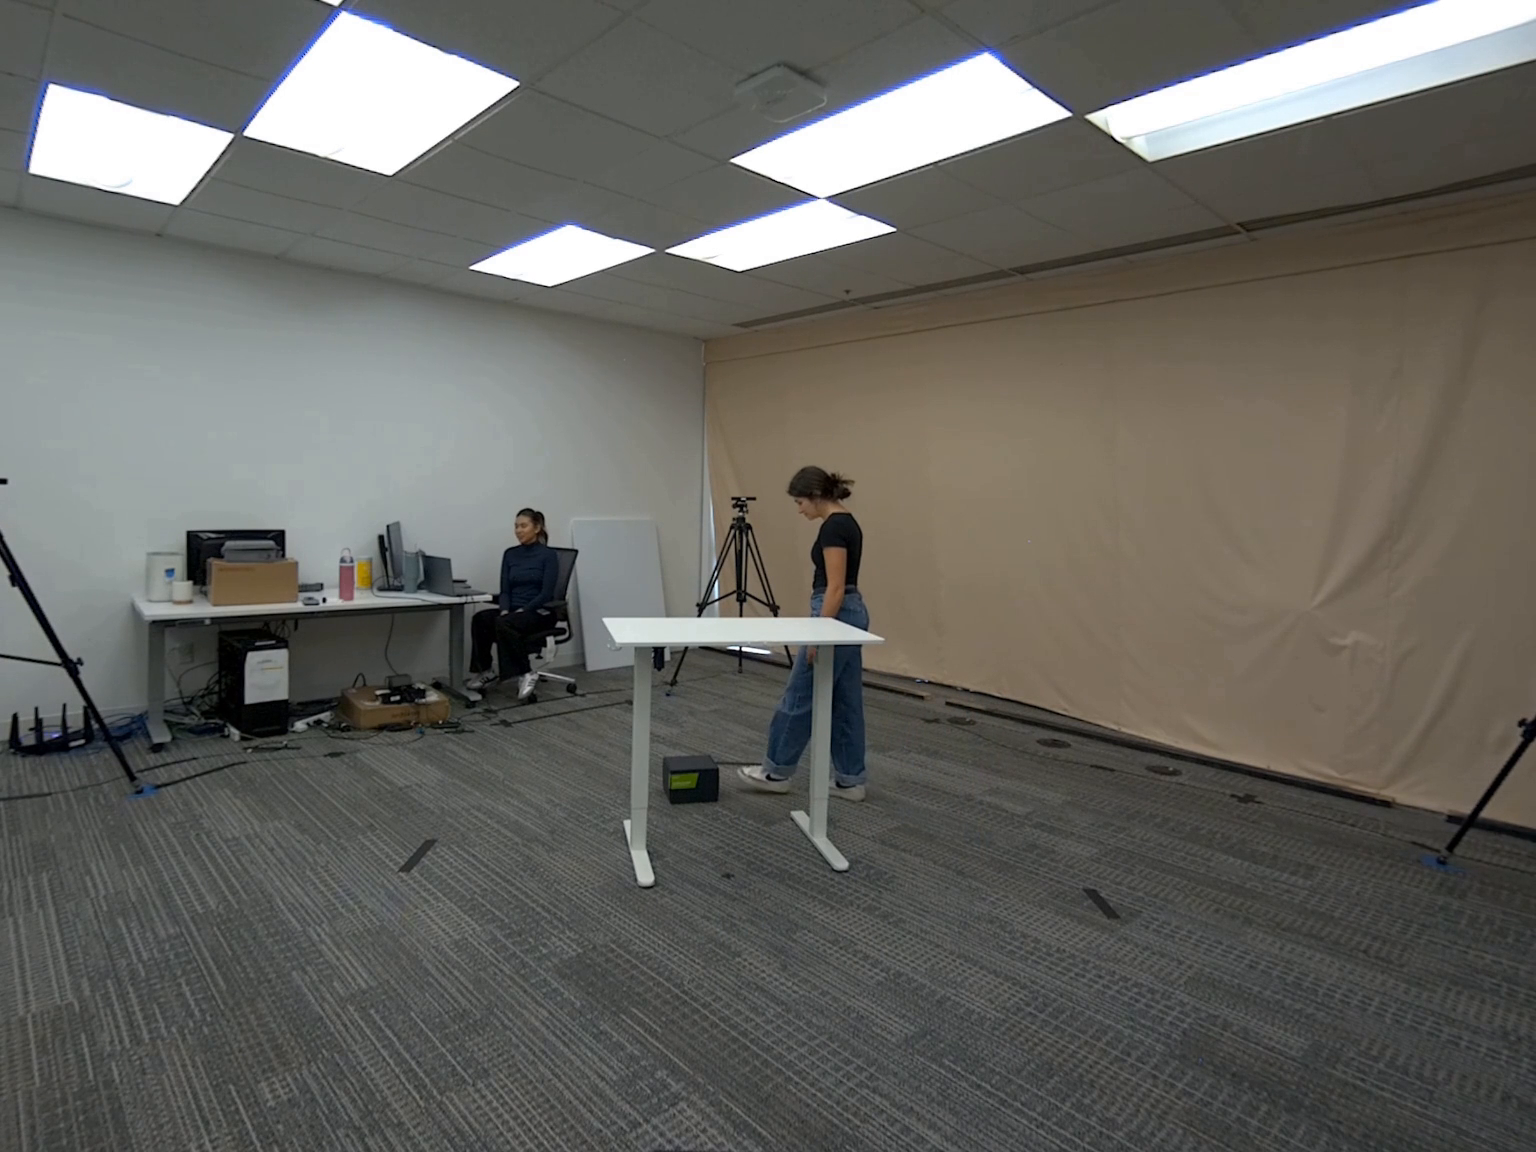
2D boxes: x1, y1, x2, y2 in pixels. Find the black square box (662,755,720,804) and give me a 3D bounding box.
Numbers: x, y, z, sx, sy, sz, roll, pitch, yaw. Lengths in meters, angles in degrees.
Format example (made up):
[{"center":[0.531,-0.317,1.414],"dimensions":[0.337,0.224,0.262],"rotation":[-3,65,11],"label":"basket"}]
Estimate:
[{"center":[-0.372,0.945,3.944],"dimensions":[0.225,0.155,0.220],"rotation":[0,4,-16],"label":"black square box"}]
